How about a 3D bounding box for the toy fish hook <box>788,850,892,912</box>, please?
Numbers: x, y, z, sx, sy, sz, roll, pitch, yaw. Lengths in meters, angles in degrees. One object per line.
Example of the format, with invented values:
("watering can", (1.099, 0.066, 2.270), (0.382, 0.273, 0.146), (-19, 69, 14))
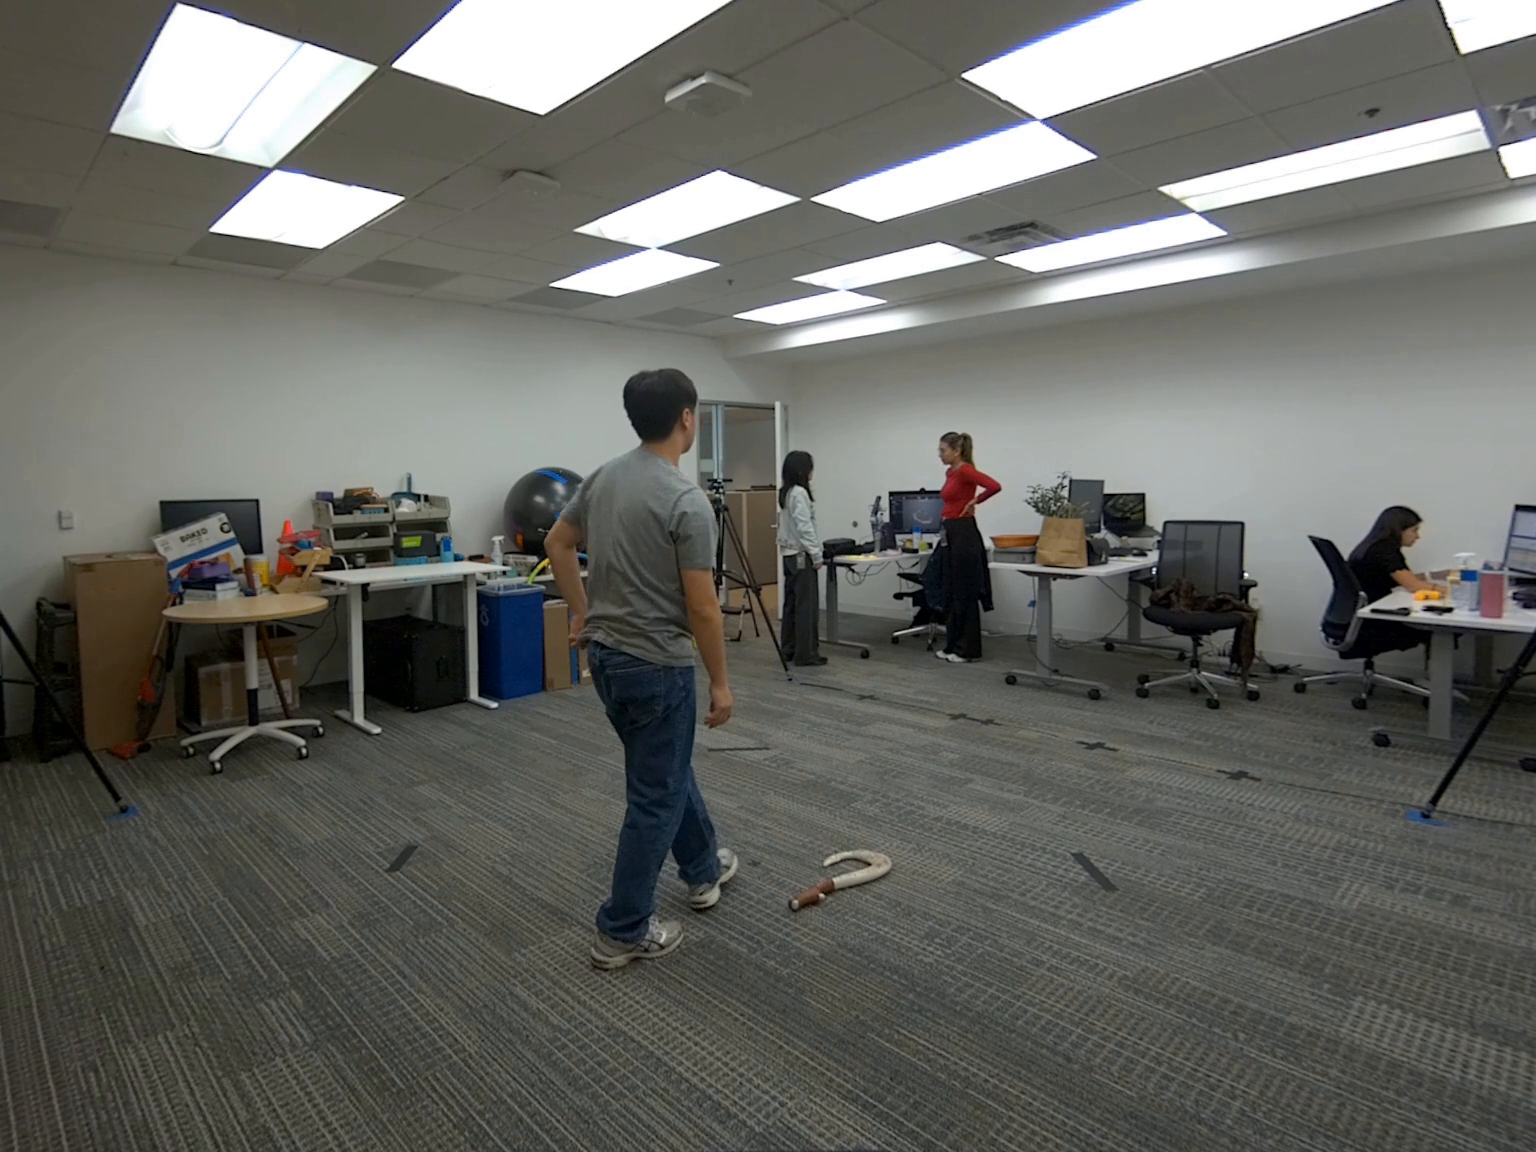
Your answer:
("toy fish hook", (0.224, 1.044, 2.953), (0.493, 0.048, 0.230), (-6, 1, -42))
